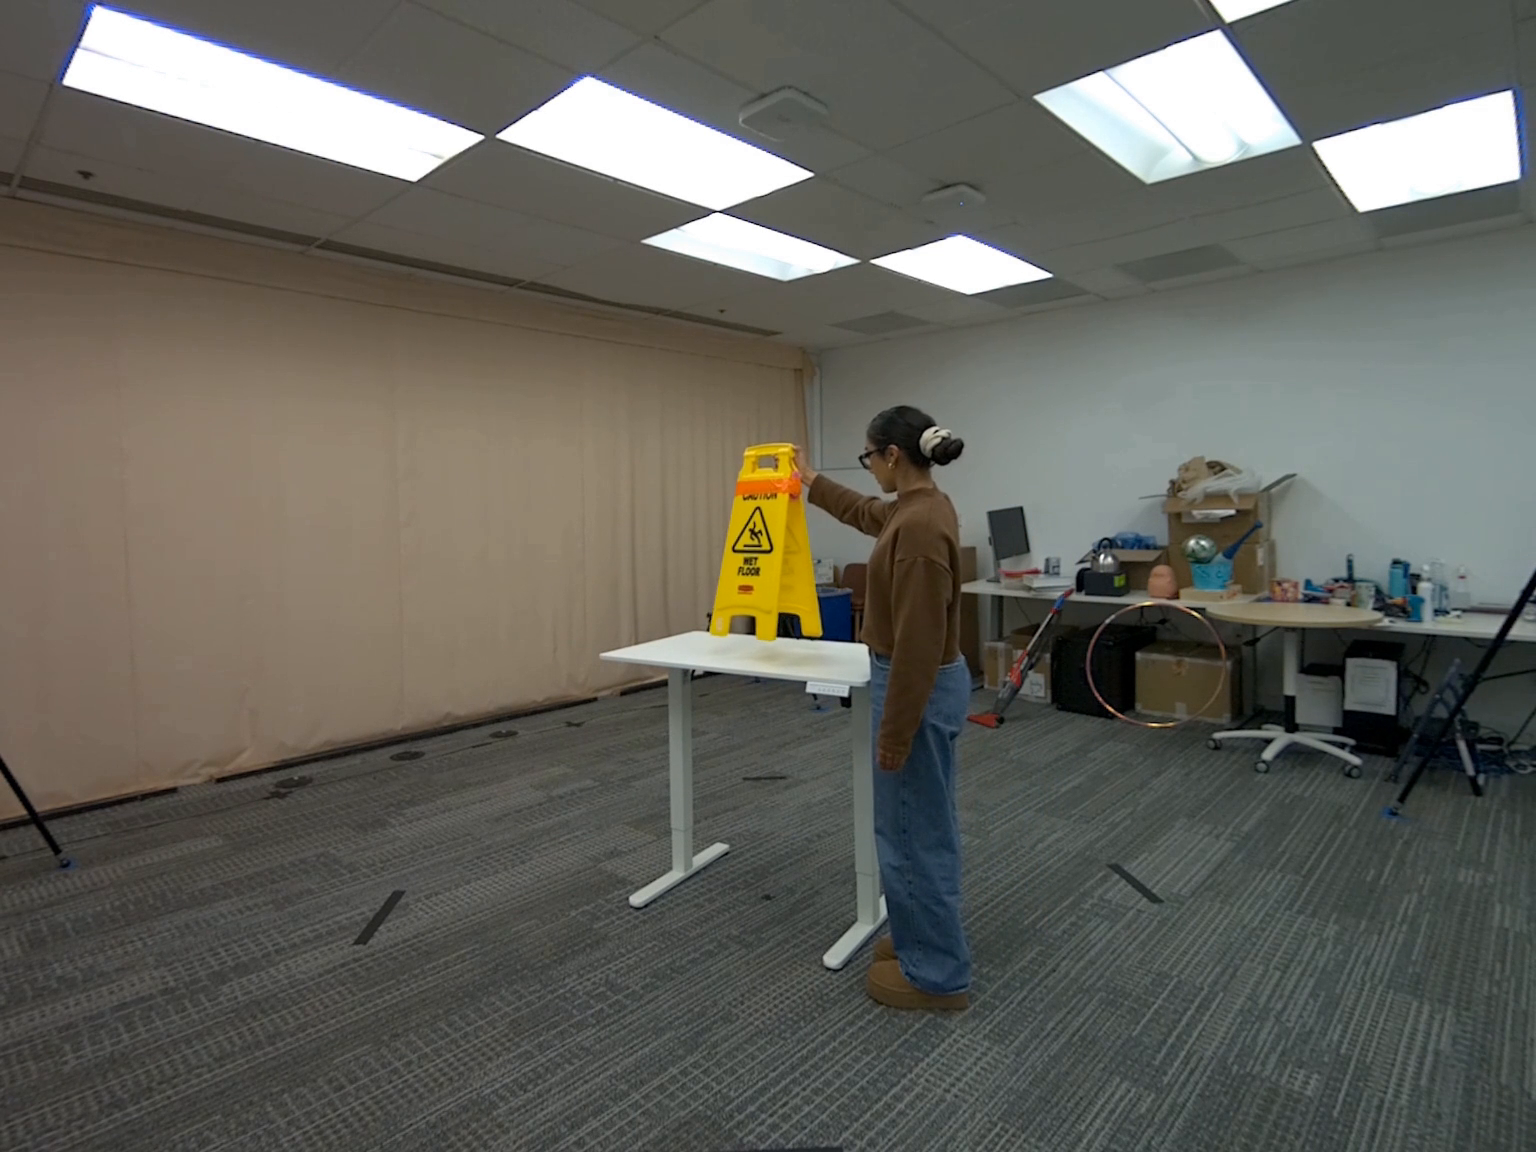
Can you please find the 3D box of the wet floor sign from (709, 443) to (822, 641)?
[{"bbox_3d":[0.002,-0.120,2.861,0.291,0.646,0.280,1,-1,40],"label":"wet floor sign"}]
